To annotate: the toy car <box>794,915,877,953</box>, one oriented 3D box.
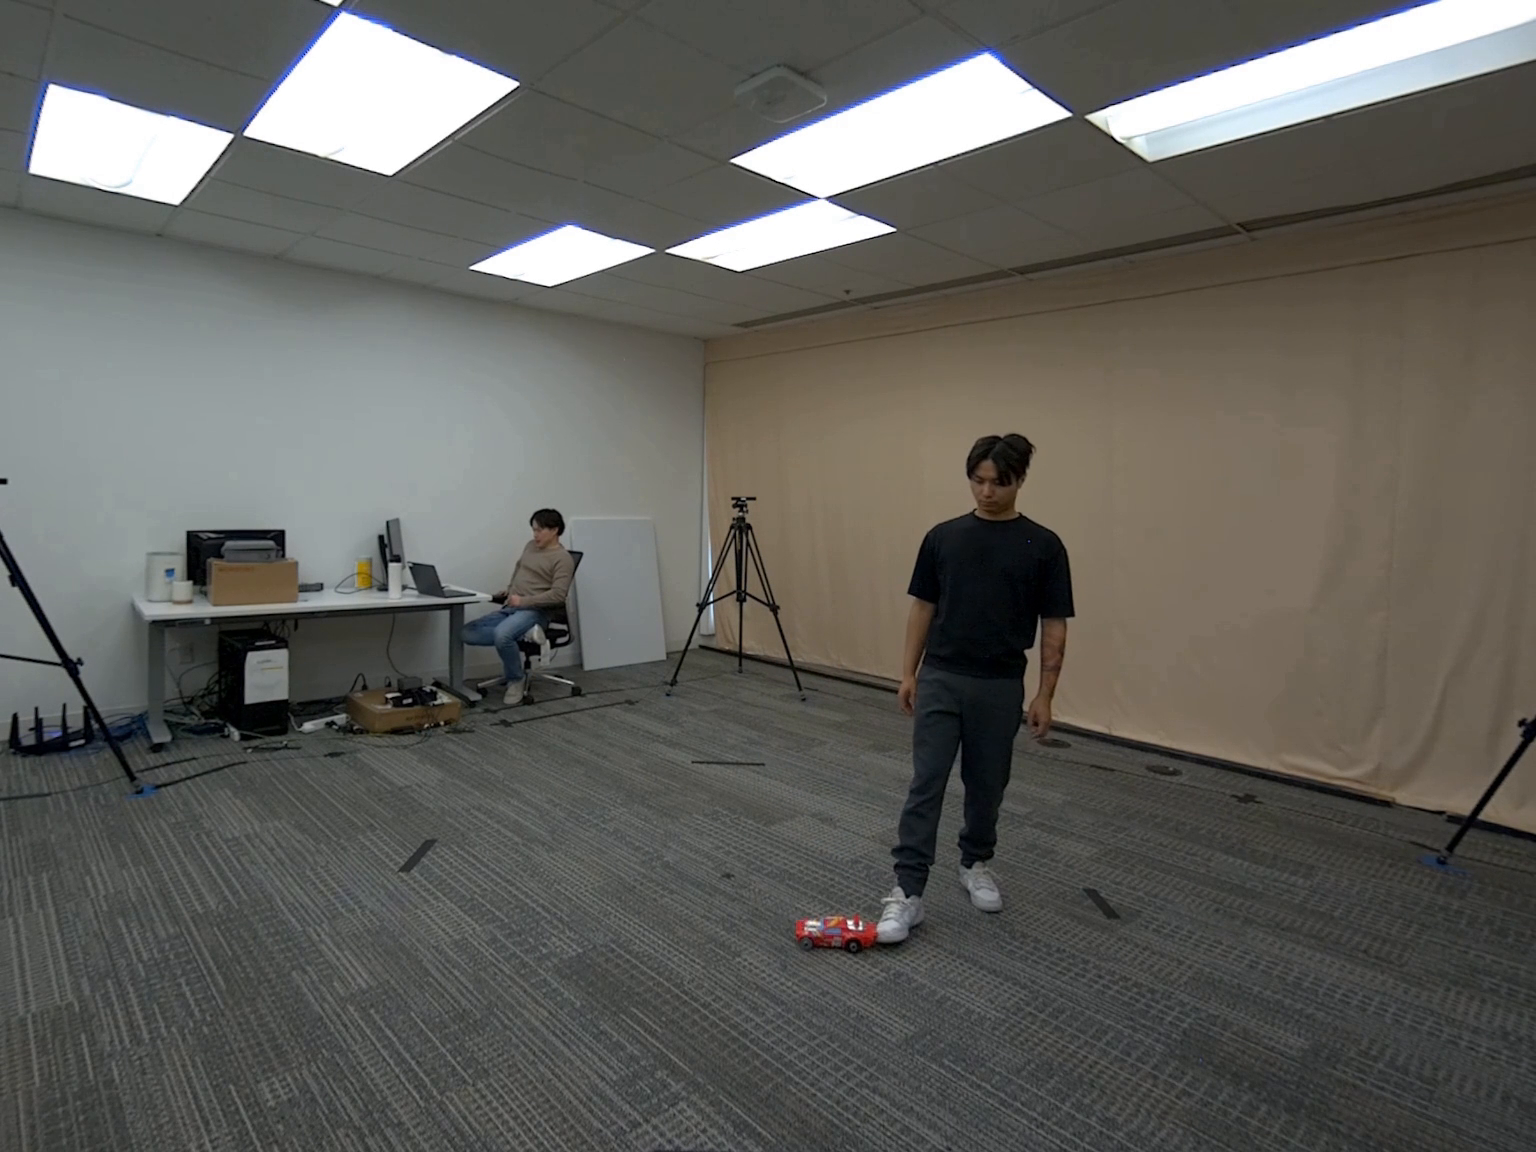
[{"bbox_3d":[0.212,1.126,2.646,0.255,0.083,0.130,-9,4,5],"label":"toy car"}]
